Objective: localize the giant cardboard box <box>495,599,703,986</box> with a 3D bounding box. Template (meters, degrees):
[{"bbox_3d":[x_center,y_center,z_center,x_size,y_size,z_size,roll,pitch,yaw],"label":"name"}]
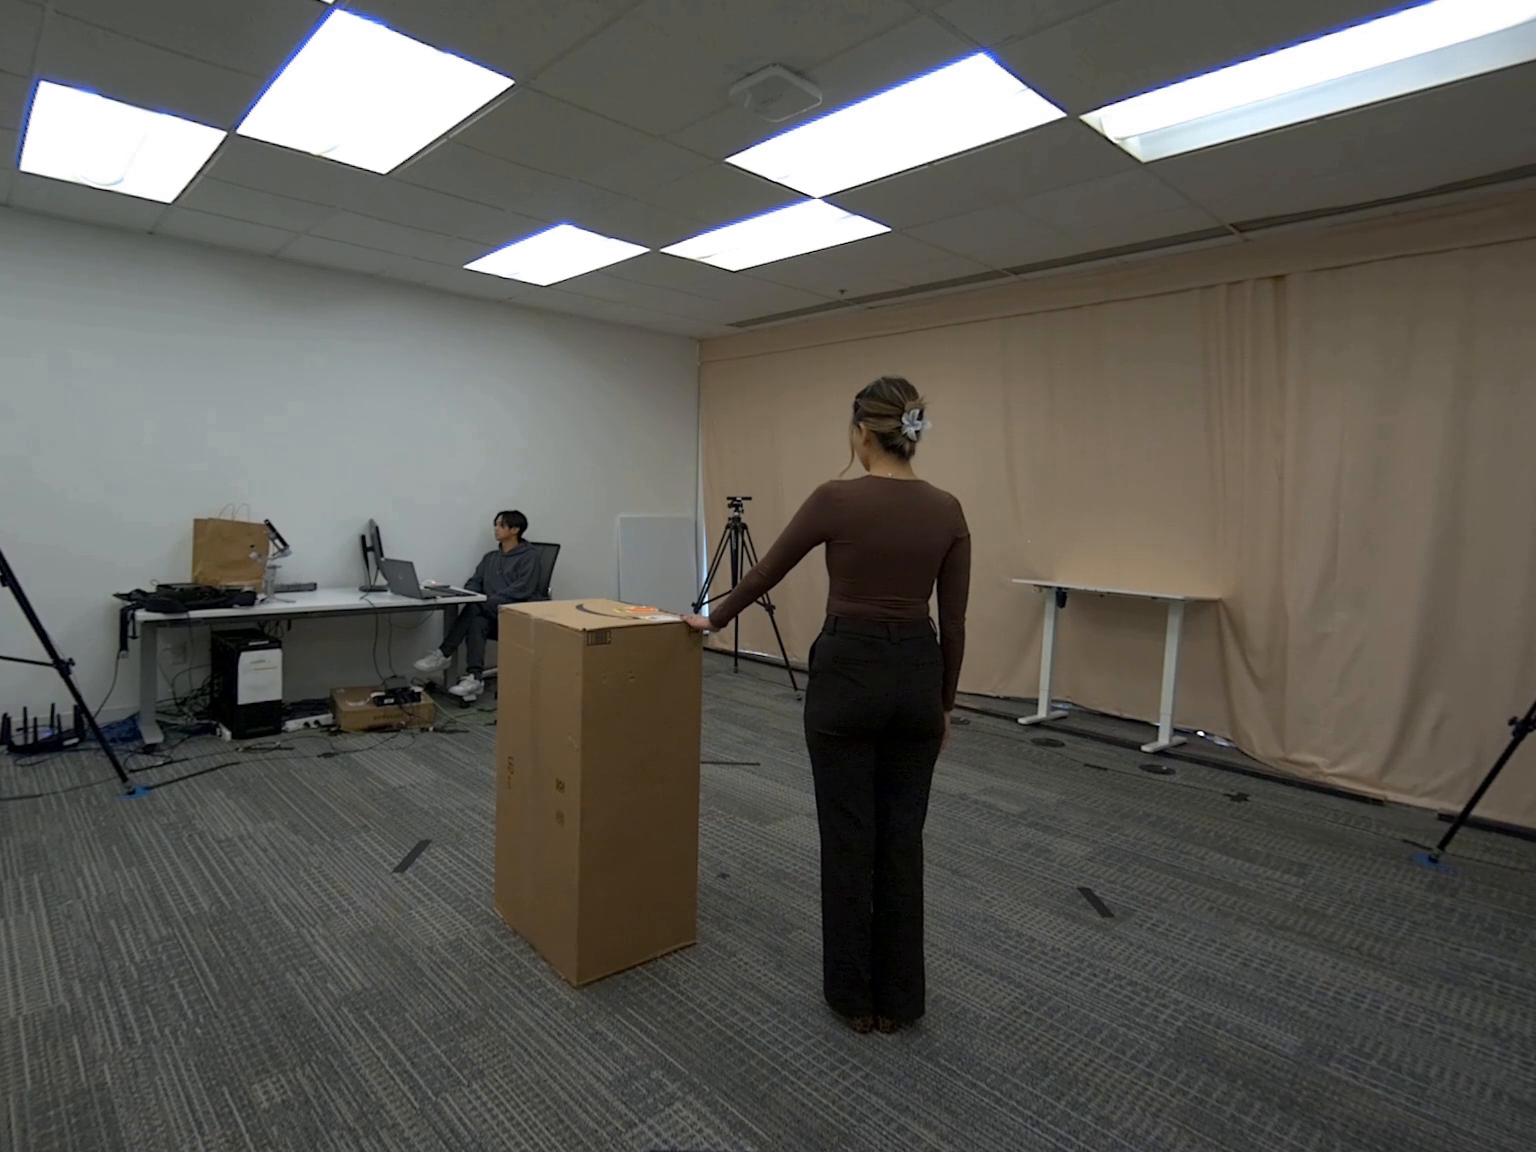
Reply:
[{"bbox_3d":[-0.560,0.625,2.696,0.436,1.025,0.598,0,3,-38],"label":"giant cardboard box"}]
